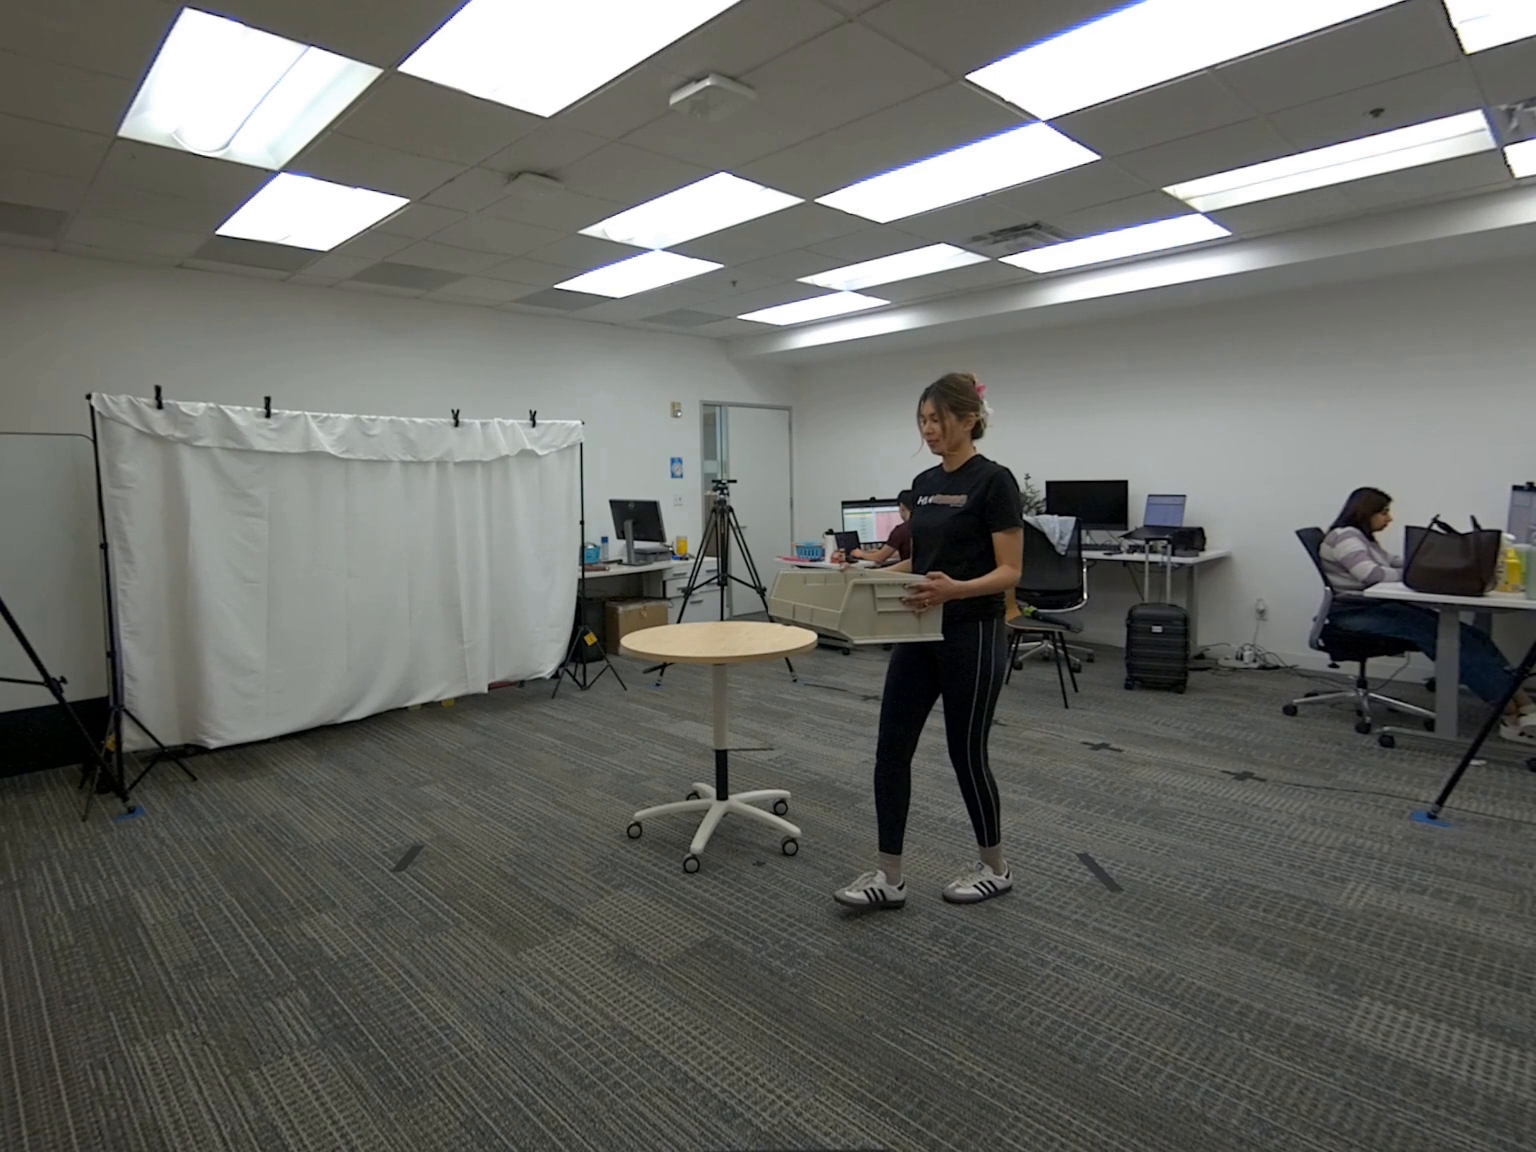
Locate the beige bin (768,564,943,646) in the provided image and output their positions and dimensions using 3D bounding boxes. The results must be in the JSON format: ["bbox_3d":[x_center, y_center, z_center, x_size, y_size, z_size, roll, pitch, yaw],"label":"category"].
[{"bbox_3d":[0.263,0.084,2.586,0.368,0.189,0.433,1,3,-28],"label":"beige bin"}]
